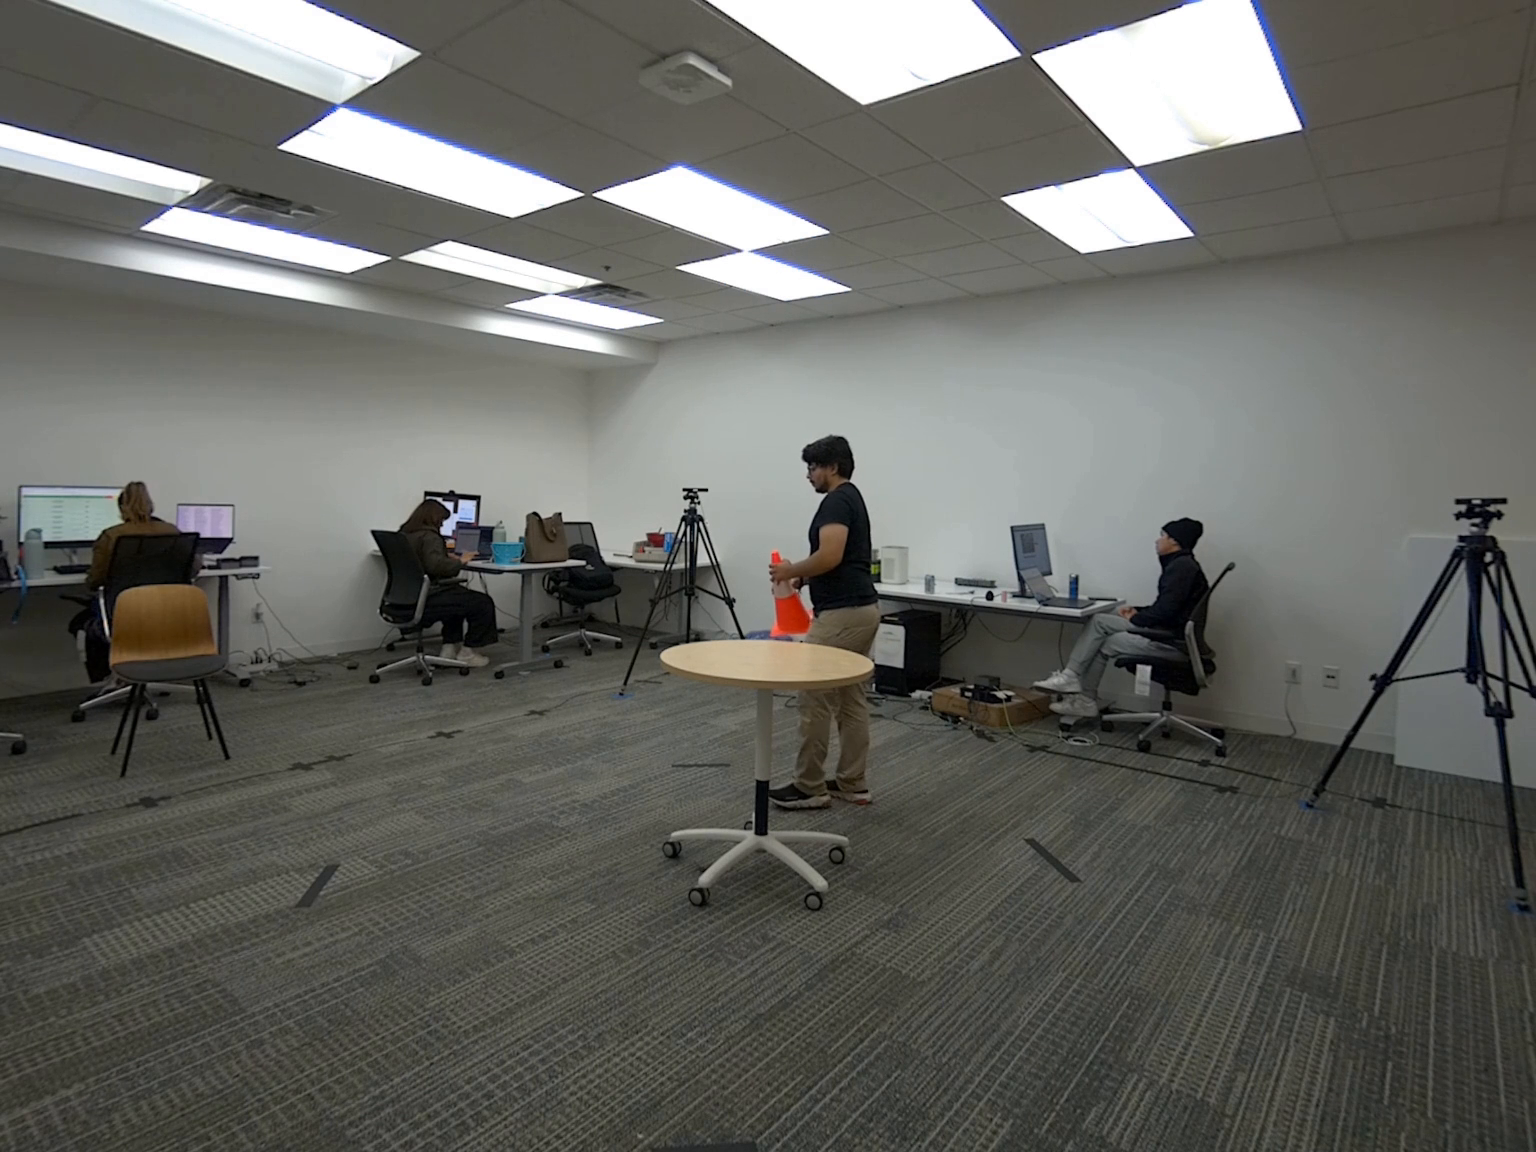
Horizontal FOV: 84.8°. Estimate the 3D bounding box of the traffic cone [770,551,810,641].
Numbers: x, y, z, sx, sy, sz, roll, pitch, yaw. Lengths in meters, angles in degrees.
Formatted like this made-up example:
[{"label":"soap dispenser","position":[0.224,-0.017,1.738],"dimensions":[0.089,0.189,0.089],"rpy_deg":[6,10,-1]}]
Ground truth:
[{"label":"traffic cone","position":[0.061,0.055,3.945],"dimensions":[0.207,0.374,0.207],"rpy_deg":[-13,24,11]}]
